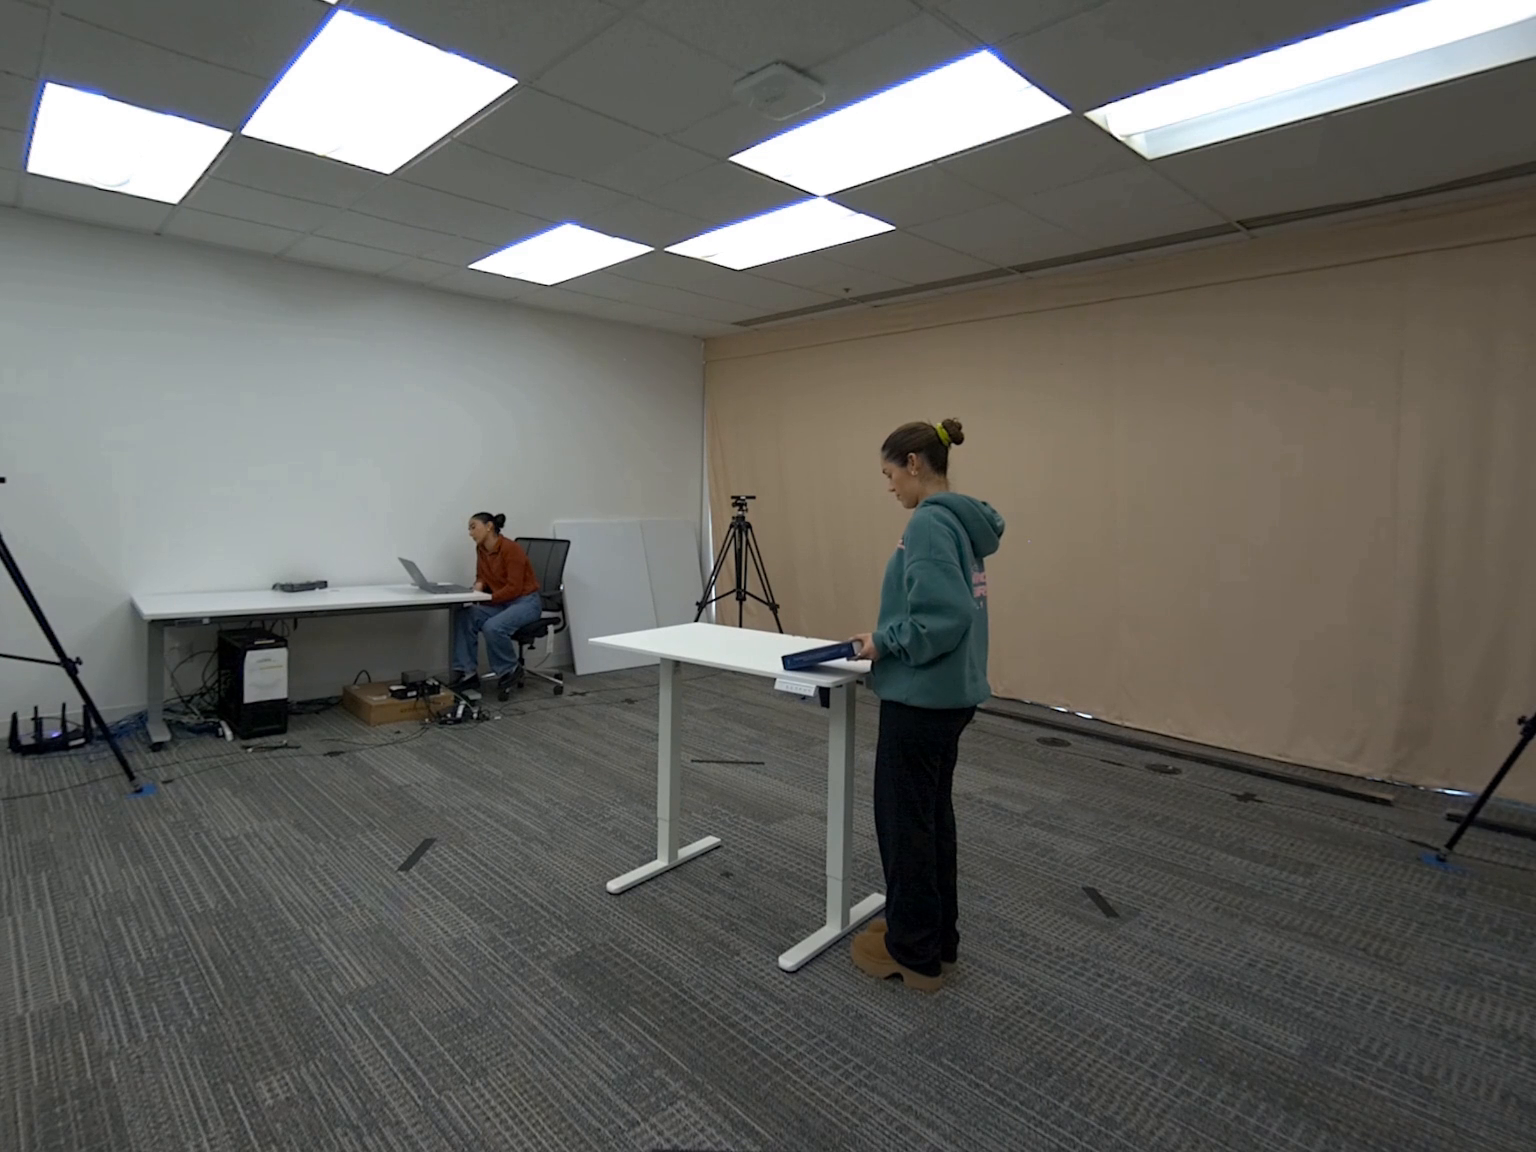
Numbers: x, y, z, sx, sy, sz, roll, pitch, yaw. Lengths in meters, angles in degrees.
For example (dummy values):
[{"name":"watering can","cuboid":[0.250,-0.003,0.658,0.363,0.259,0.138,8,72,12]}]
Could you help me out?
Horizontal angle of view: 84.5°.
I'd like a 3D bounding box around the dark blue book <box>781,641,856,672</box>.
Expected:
[{"name":"dark blue book","cuboid":[0.177,0.226,2.490,0.249,0.045,0.160,-15,-4,34]}]
